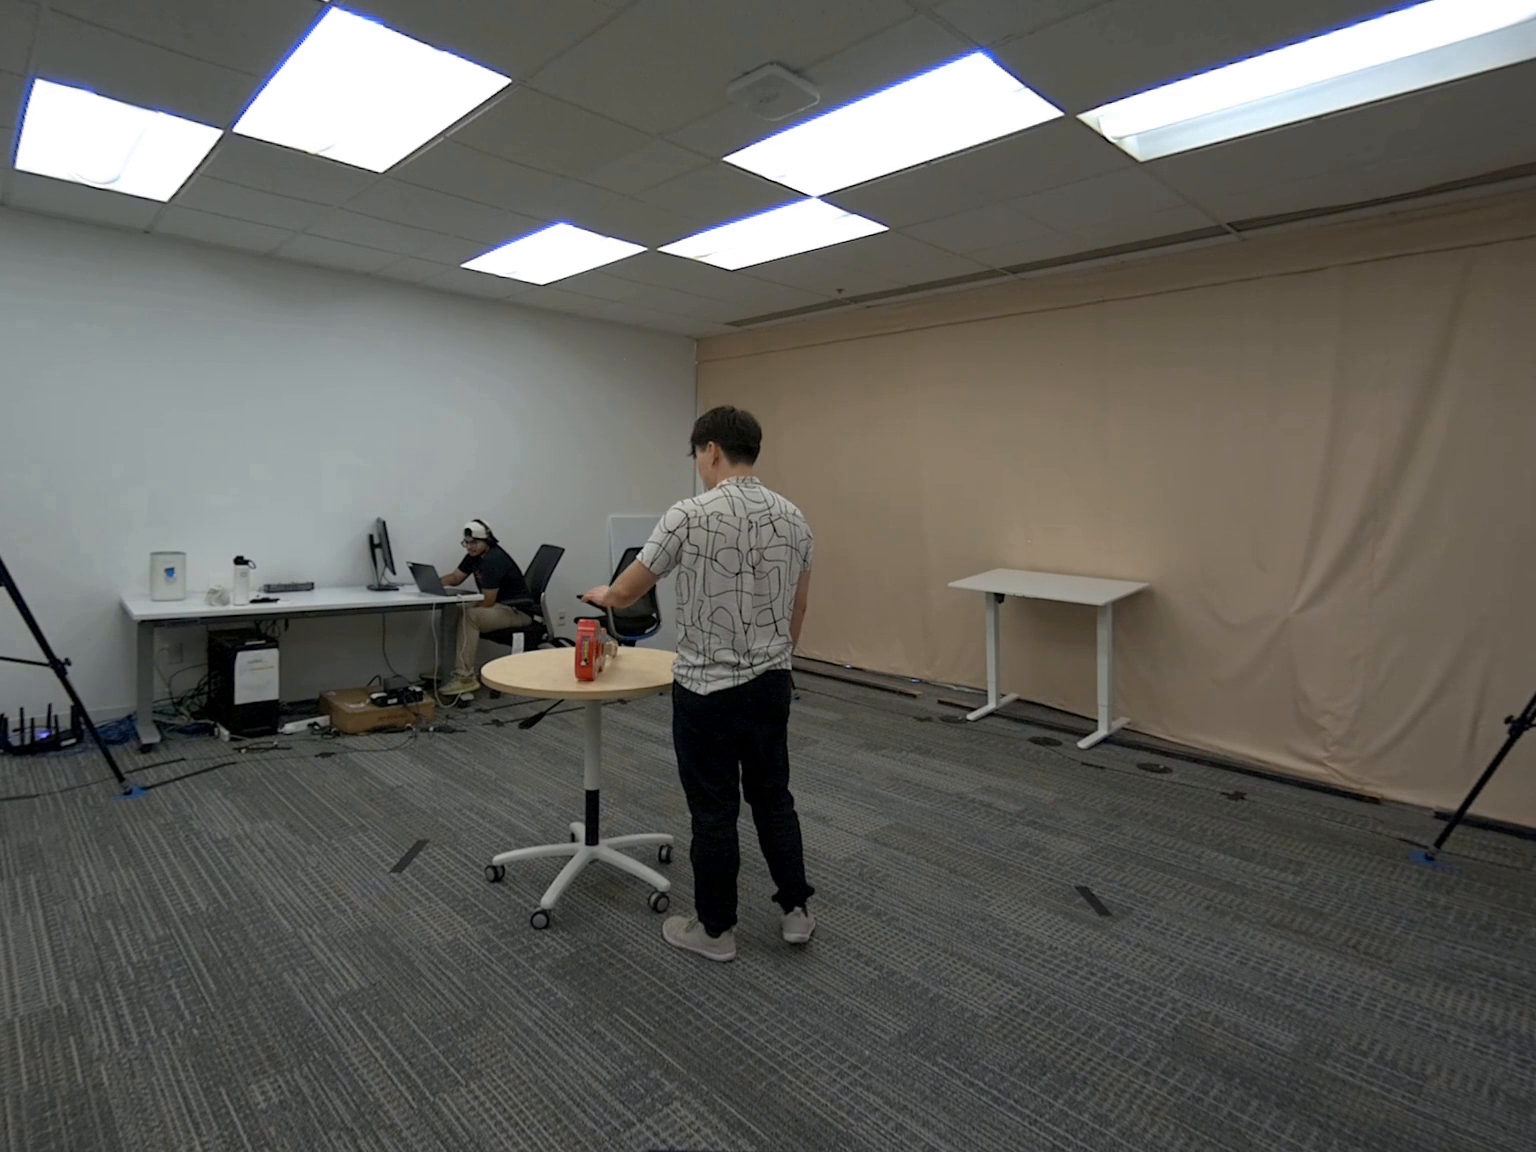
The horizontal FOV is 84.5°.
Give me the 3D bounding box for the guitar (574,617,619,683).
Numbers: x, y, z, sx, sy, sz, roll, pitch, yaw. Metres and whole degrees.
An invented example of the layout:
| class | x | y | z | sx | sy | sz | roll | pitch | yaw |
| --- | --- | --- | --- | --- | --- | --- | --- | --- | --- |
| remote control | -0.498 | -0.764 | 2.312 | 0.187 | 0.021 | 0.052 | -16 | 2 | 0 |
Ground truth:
| class | x | y | z | sx | sy | sz | roll | pitch | yaw |
| --- | --- | --- | --- | --- | --- | --- | --- | --- | --- |
| guitar | -0.600 | 0.286 | 2.936 | 0.071 | 0.195 | 0.492 | 2 | -13 | 1 |
